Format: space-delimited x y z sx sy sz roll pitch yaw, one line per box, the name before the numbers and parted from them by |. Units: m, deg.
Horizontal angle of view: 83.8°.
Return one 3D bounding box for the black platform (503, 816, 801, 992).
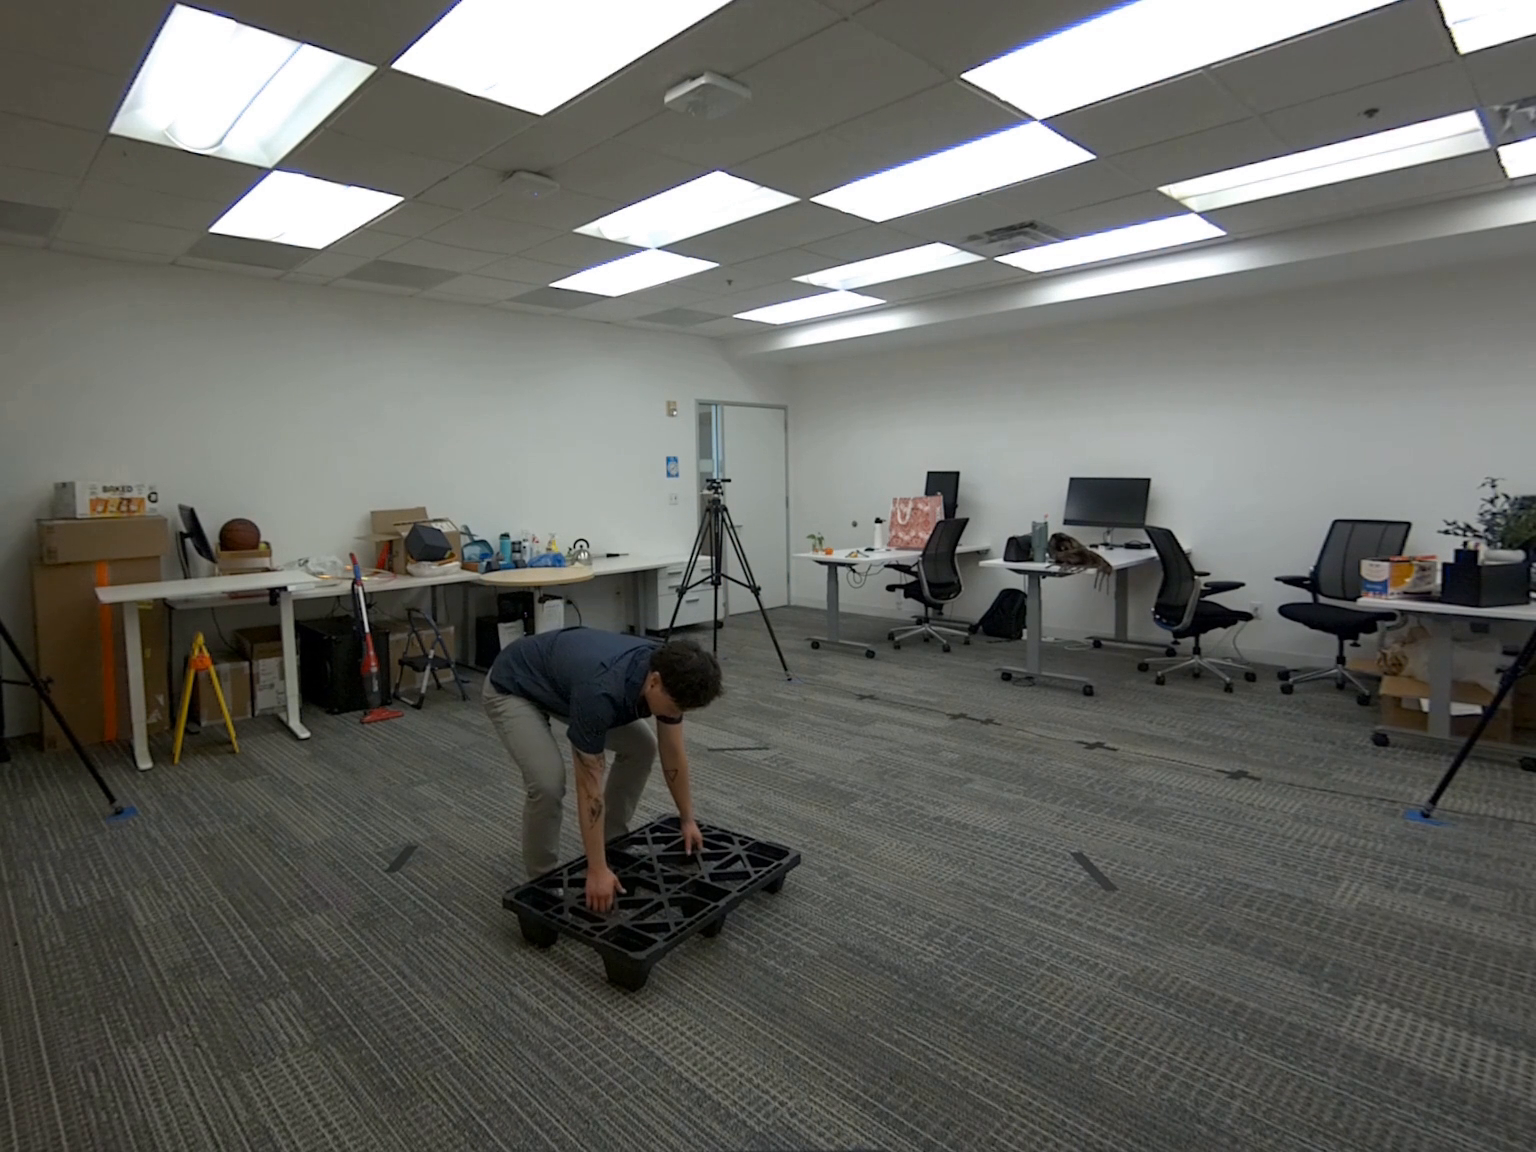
black platform | -0.351 1.022 2.760 0.623 0.142 0.786 3 8 36
